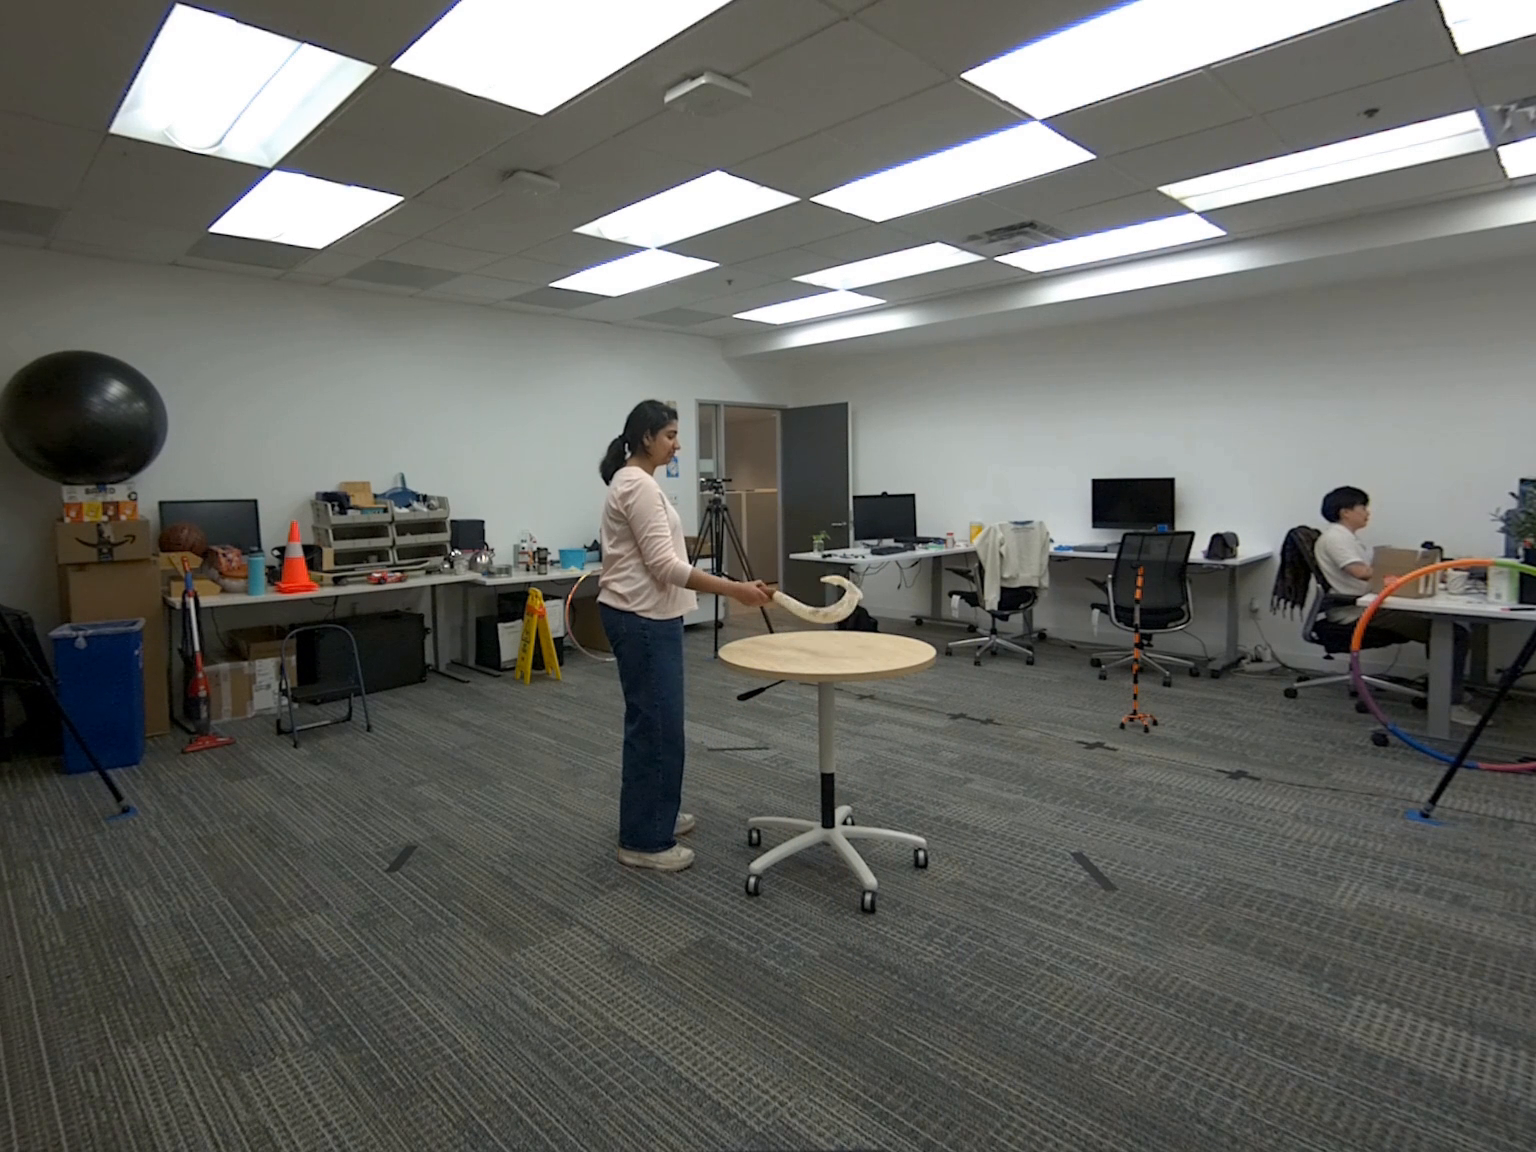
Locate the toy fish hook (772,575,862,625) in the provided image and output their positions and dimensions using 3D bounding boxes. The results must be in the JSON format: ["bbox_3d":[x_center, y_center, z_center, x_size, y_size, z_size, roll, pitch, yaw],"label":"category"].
[{"bbox_3d":[0.095,0.052,3.039,0.524,0.047,0.224,14,44,37],"label":"toy fish hook"}]
